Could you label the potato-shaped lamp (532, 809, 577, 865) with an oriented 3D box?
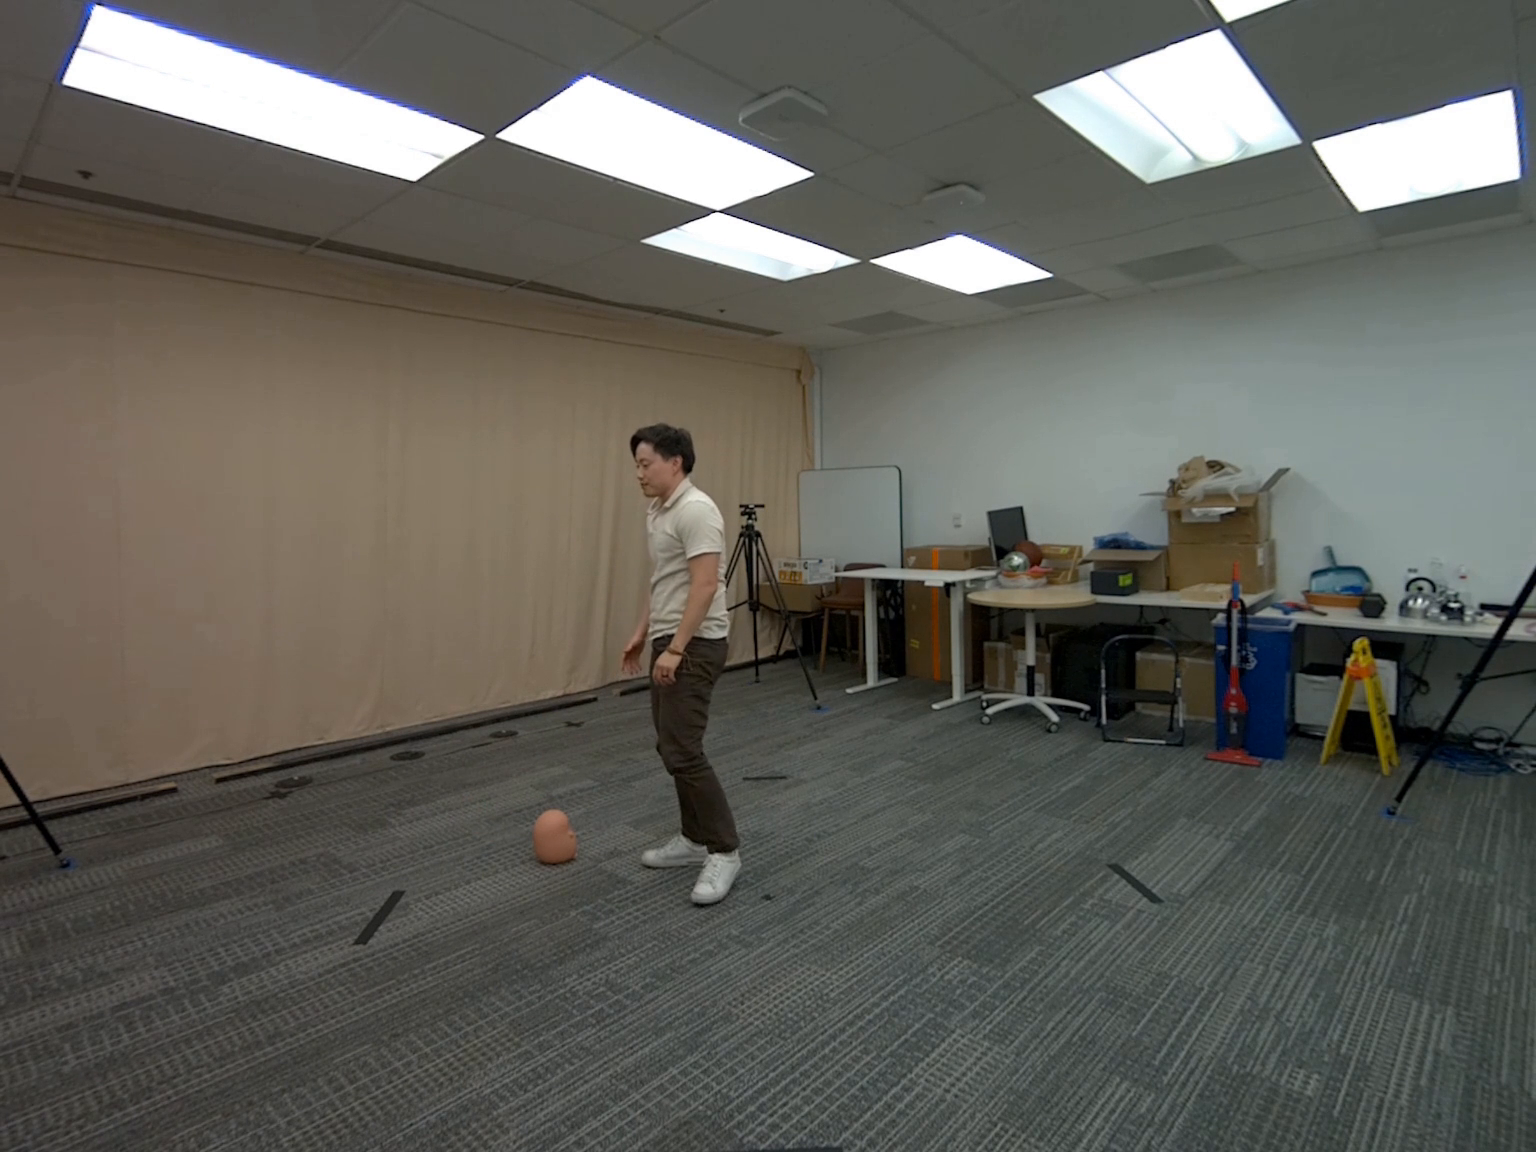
[{"bbox_3d":[-0.849,1.032,3.350,0.167,0.197,0.170,-9,7,-34],"label":"potato-shaped lamp"}]
